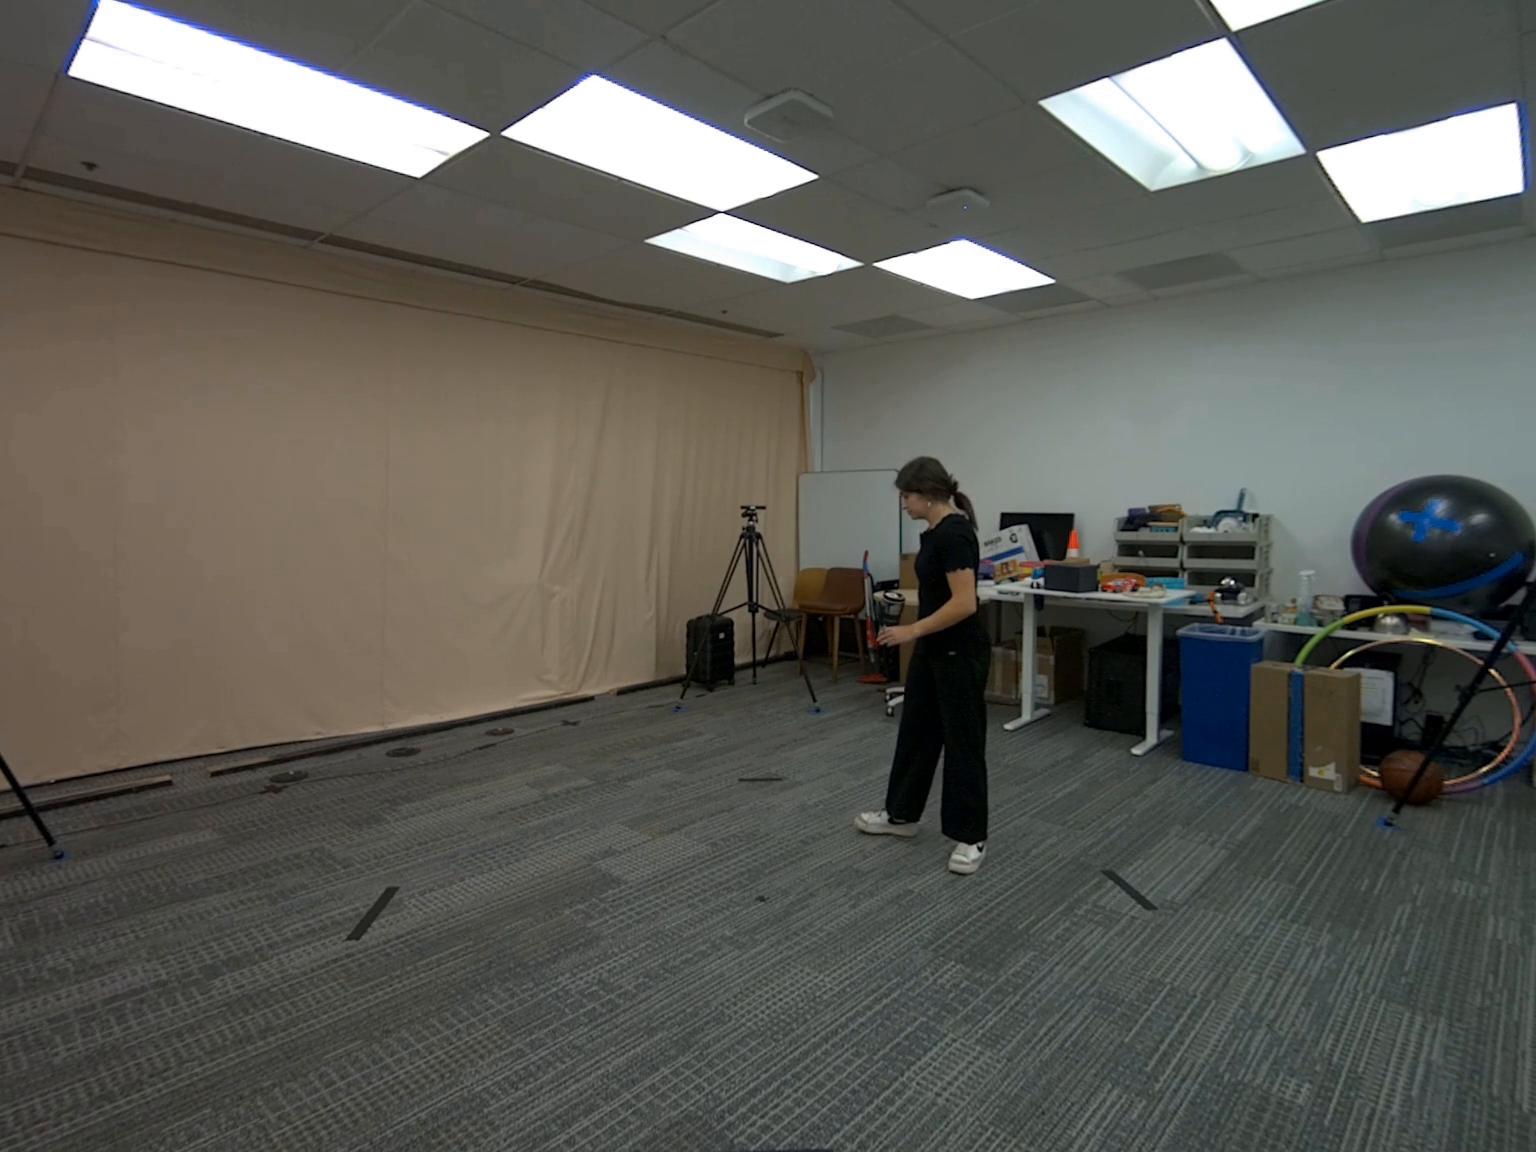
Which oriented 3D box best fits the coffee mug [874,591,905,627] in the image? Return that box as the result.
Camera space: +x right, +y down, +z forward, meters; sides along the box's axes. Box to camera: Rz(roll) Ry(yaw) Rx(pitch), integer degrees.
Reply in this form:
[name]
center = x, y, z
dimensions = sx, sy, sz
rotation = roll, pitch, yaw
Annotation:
[coffee mug]
center = 0.473, 0.170, 3.298
dimensions = 0.119, 0.201, 0.091
rotation = -2, 22, -28
